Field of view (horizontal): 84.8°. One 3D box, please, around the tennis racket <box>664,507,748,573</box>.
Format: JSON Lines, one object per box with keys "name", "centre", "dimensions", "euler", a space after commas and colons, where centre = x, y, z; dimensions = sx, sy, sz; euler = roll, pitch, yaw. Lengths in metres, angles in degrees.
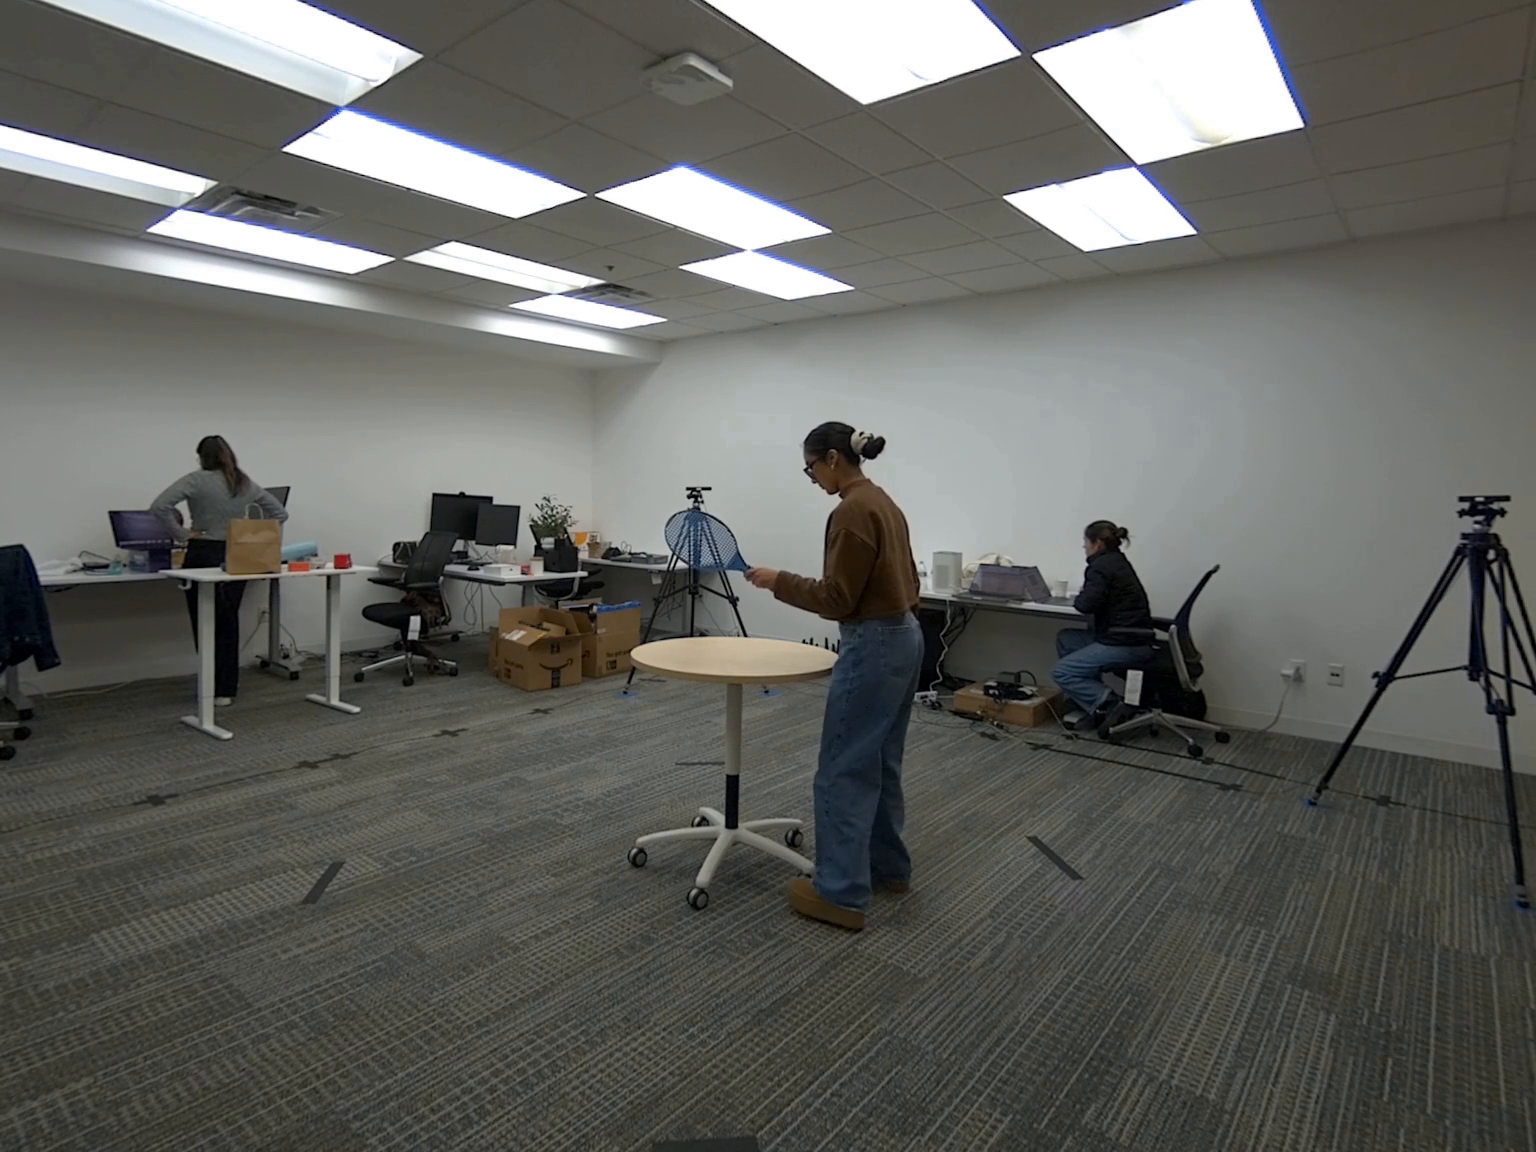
{"name": "tennis racket", "centre": [-0.159, -0.072, 2.894], "dimensions": [0.434, 0.215, 0.031], "euler": [31, -20, 1]}
